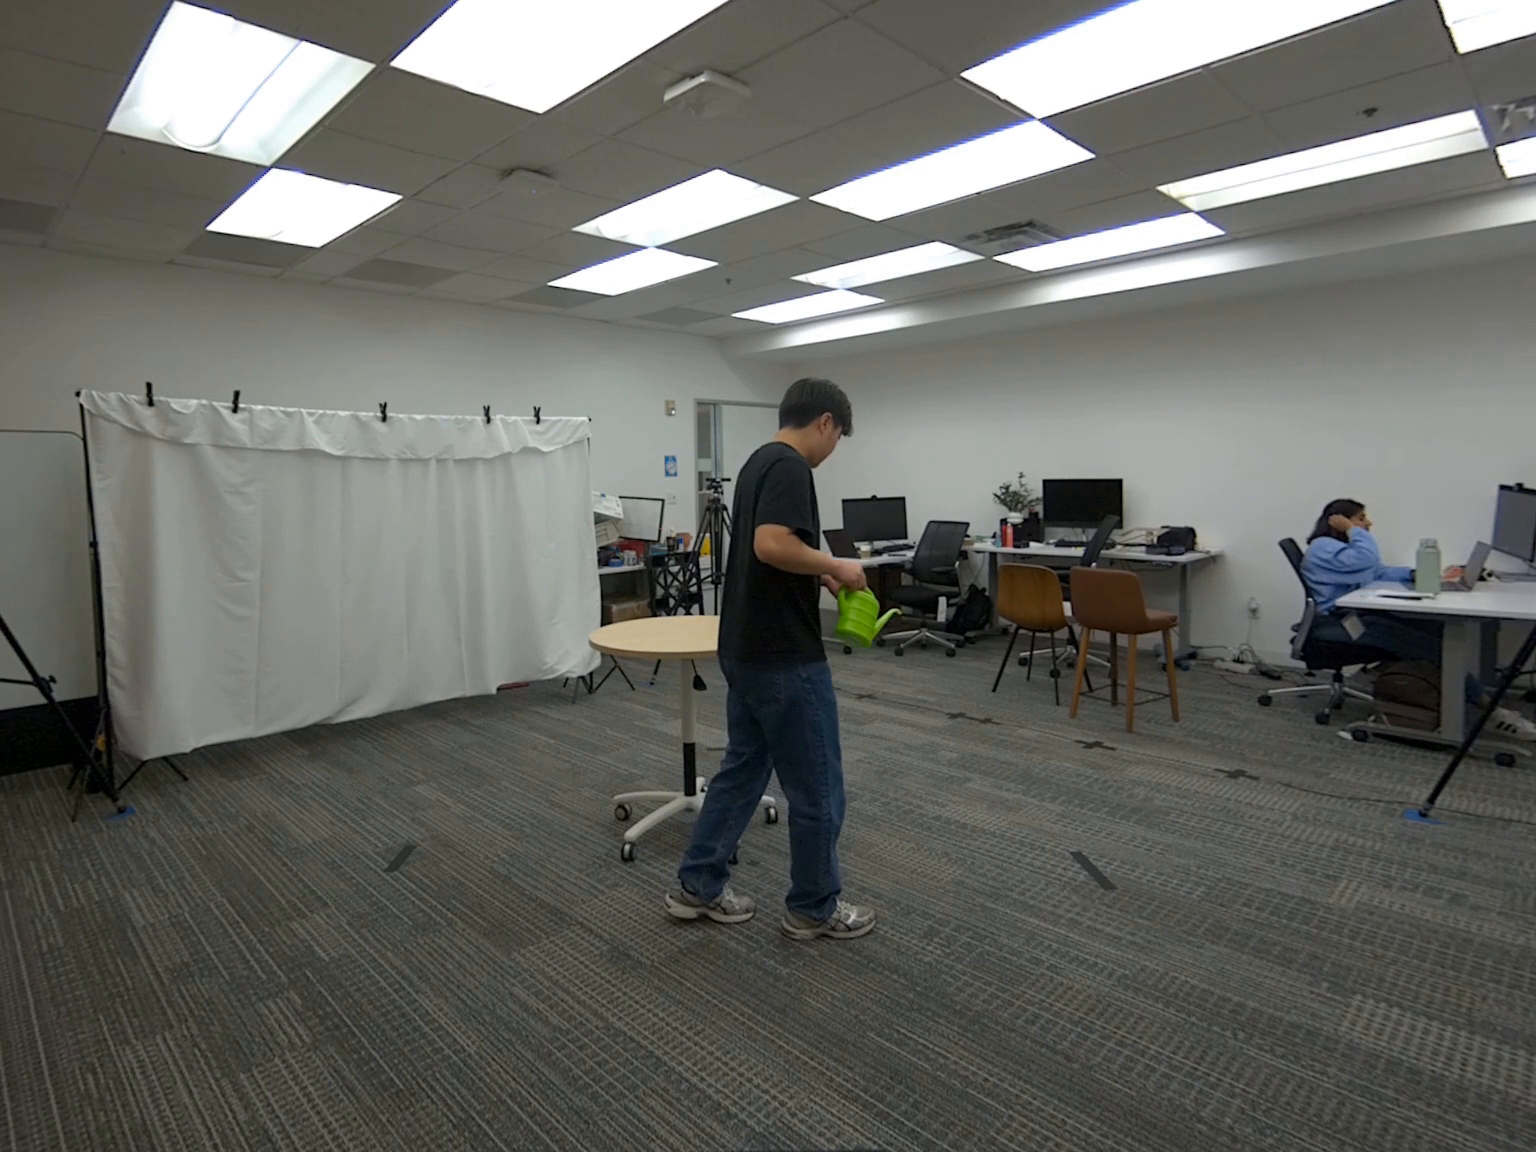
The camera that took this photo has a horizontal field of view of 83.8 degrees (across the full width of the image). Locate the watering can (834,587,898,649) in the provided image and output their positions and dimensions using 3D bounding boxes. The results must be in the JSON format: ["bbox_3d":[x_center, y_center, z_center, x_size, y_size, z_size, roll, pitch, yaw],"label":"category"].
[{"bbox_3d":[0.299,0.128,2.536,0.271,0.179,0.099,26,-24,-21],"label":"watering can"}]
